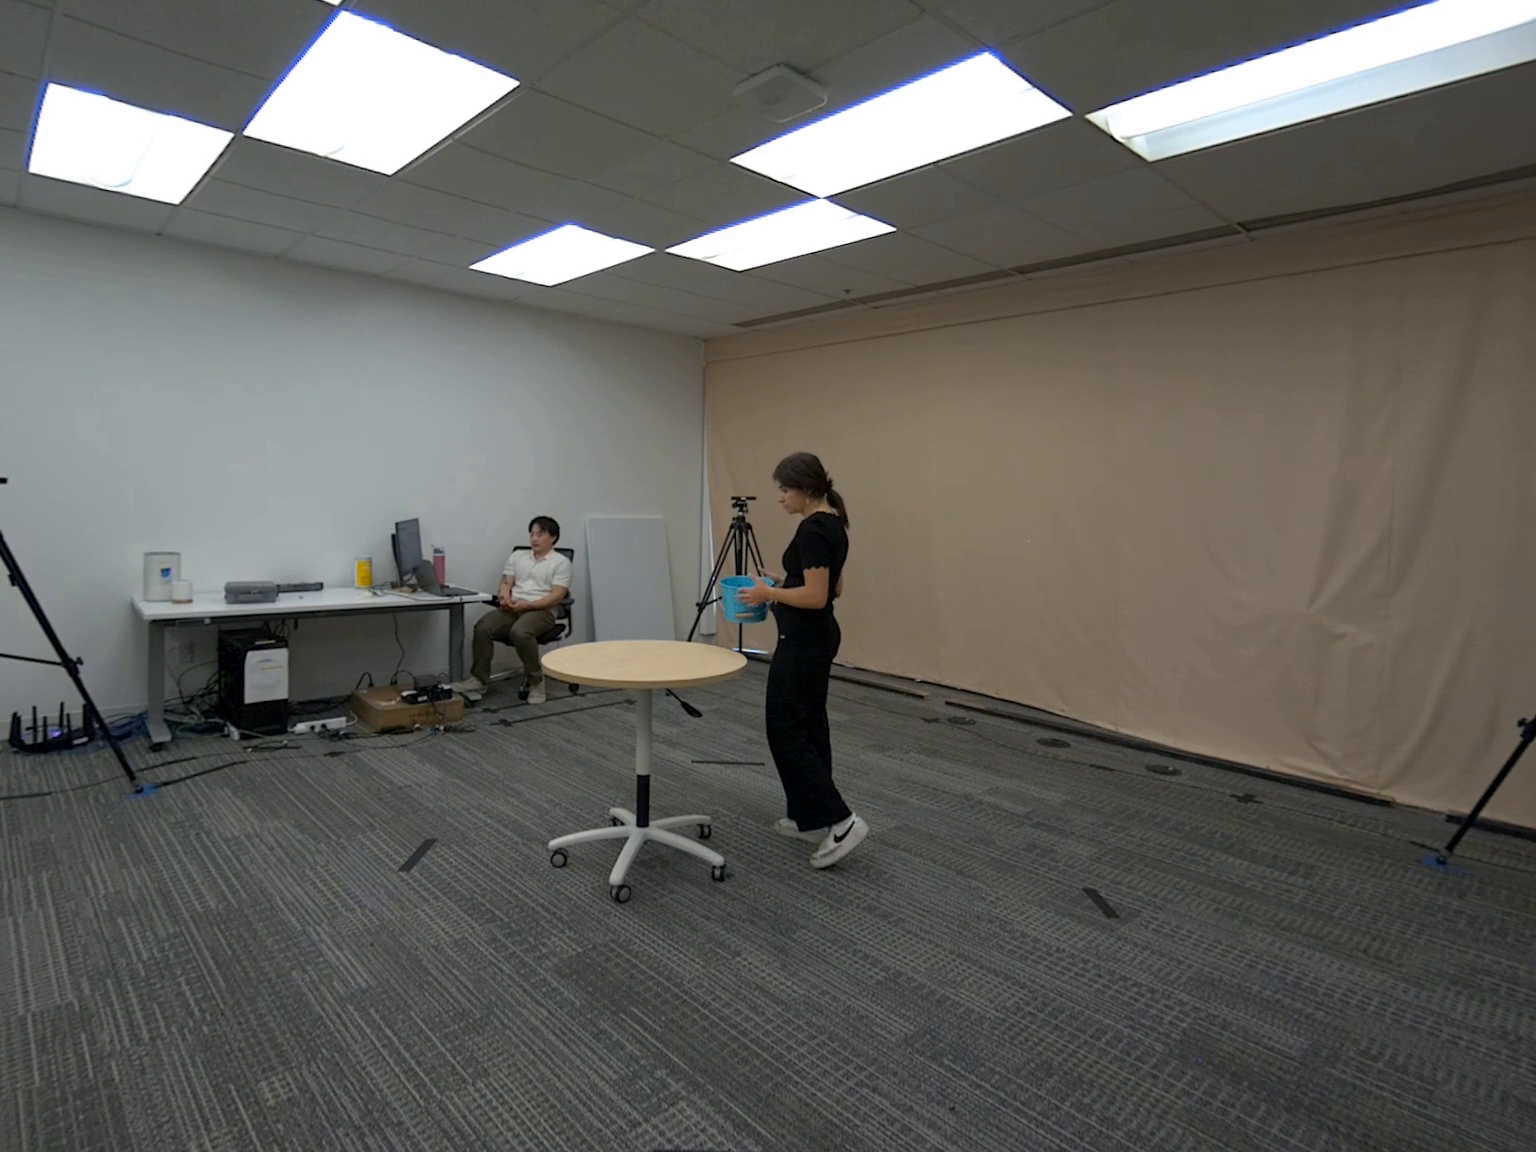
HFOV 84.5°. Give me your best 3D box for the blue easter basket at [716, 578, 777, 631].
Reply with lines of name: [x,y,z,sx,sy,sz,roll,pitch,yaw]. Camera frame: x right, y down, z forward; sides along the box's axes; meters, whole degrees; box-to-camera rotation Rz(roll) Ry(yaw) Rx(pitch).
blue easter basket: [-0.090,0.111,3.471,0.243,0.154,0.246,1,12,-1]
